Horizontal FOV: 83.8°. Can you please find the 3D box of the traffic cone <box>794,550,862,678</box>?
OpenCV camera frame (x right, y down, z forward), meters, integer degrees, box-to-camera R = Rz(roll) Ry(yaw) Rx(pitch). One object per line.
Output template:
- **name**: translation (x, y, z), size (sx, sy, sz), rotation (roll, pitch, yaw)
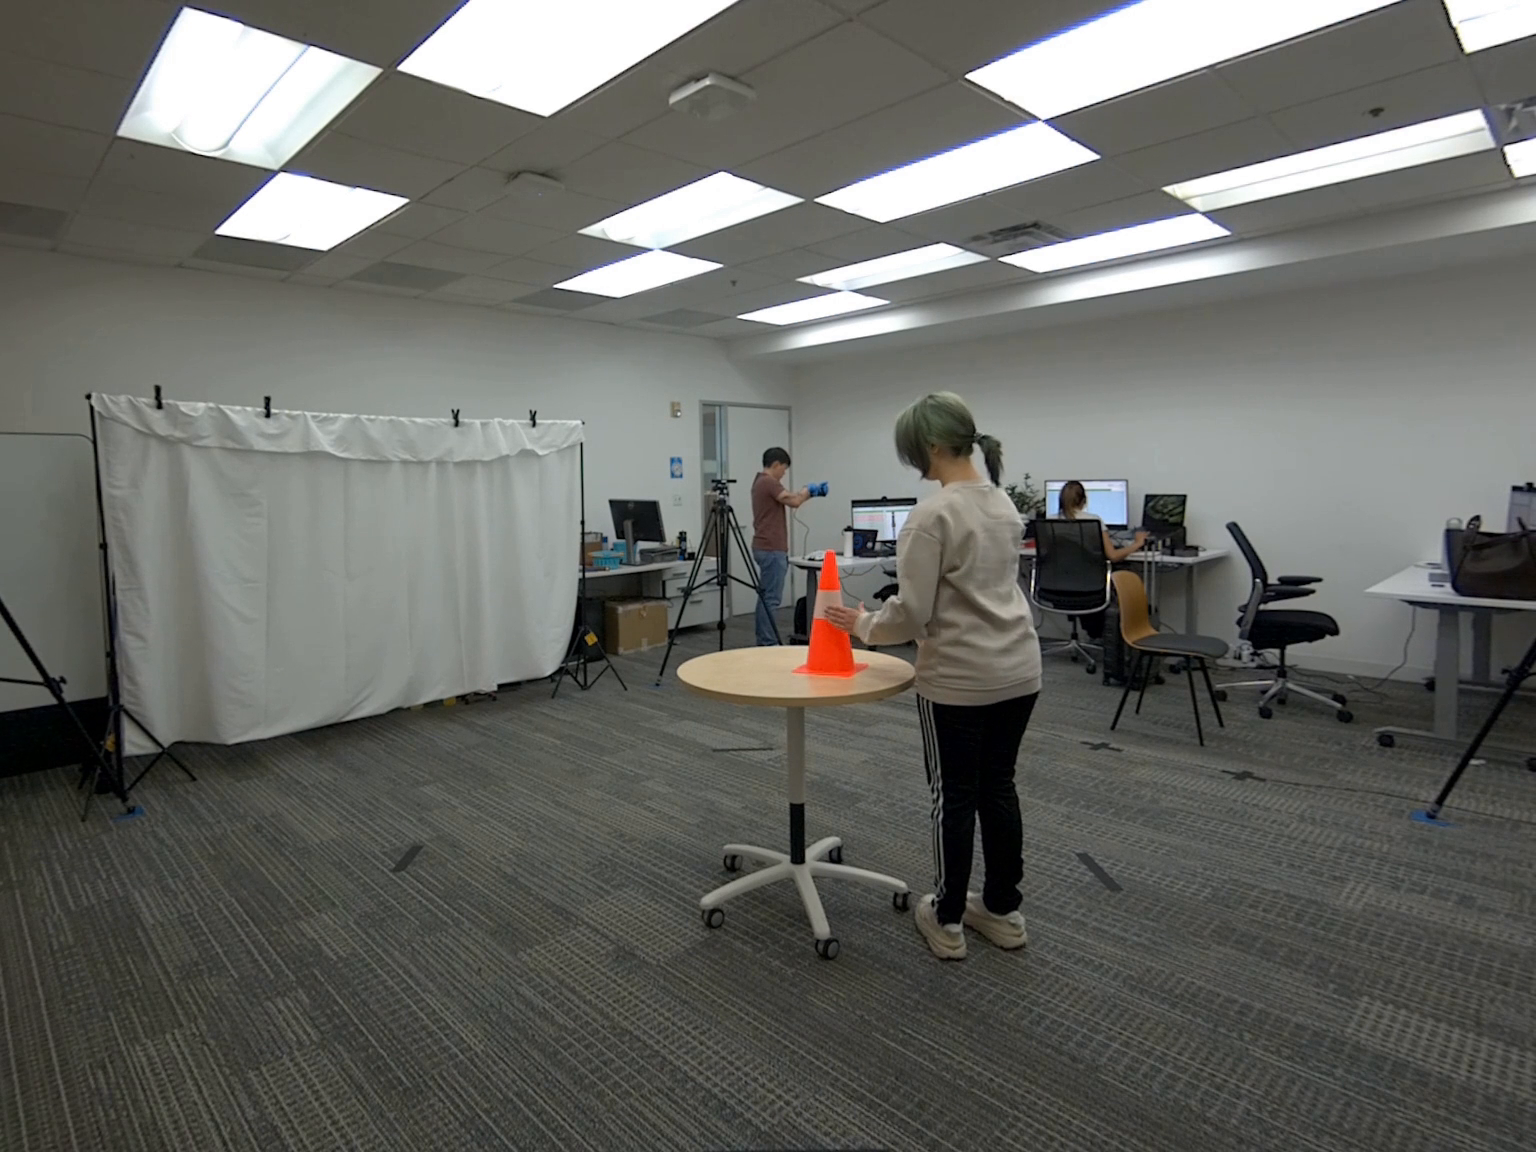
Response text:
- **traffic cone**: translation (0.205, 0.111, 2.745), size (0.208, 0.383, 0.201), rotation (1, 4, 25)
